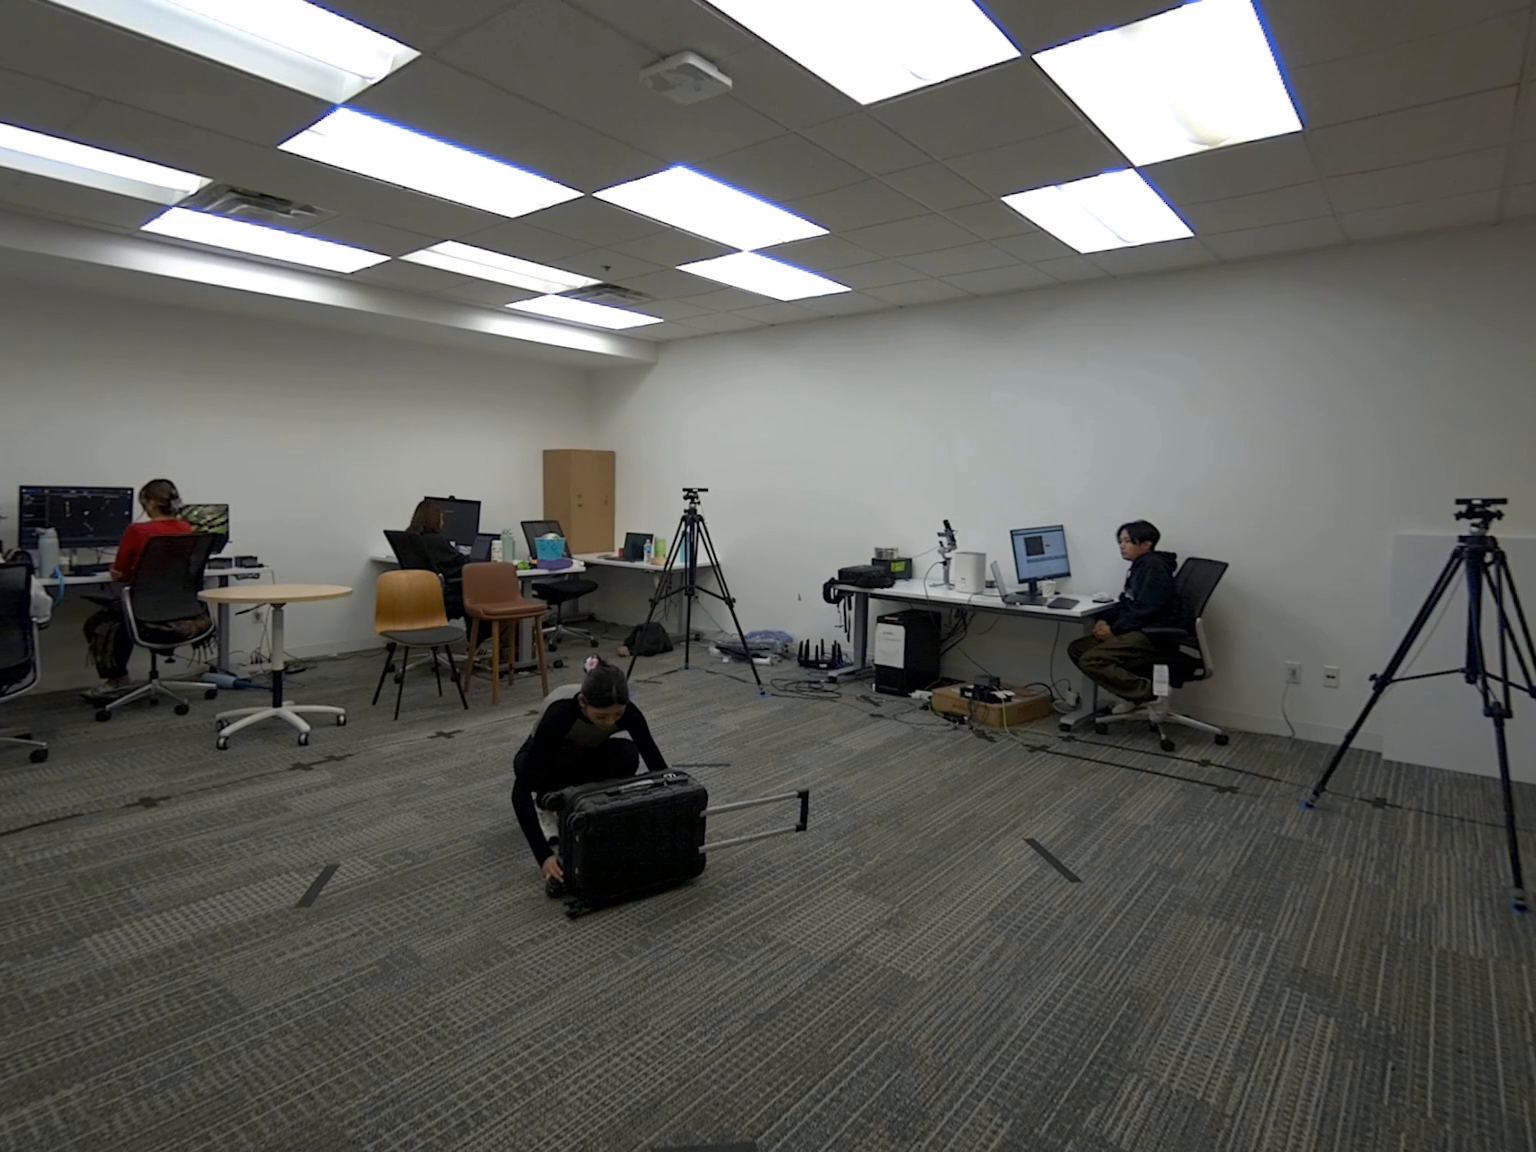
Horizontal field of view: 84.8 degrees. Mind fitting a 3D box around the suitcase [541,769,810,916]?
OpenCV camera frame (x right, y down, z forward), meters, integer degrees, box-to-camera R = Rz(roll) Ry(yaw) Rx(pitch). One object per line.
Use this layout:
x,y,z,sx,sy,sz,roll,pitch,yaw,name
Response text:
-0.318,0.881,3.064,0.951,0.382,0.266,-3,6,-36,suitcase
